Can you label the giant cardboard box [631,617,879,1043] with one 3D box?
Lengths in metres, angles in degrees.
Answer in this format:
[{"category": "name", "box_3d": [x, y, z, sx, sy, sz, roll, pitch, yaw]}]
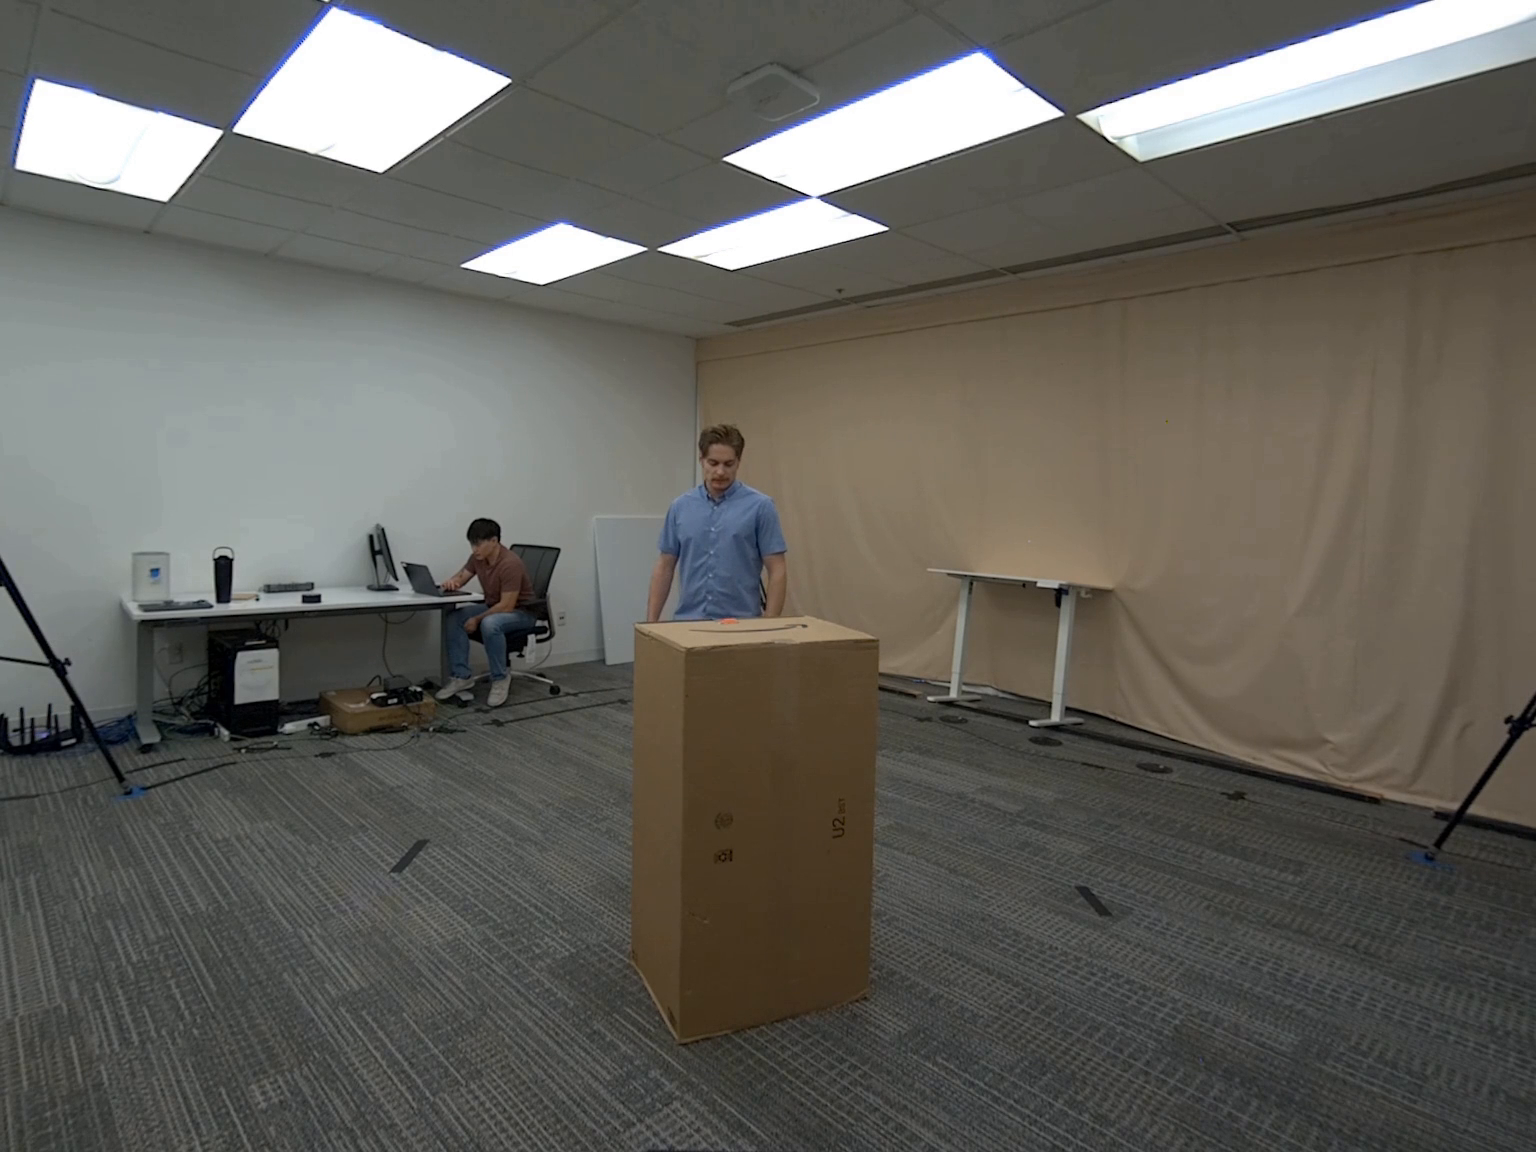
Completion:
[{"category": "giant cardboard box", "box_3d": [-0.056, 0.660, 2.408, 0.567, 1.023, 0.435, 0, 4, -25]}]
